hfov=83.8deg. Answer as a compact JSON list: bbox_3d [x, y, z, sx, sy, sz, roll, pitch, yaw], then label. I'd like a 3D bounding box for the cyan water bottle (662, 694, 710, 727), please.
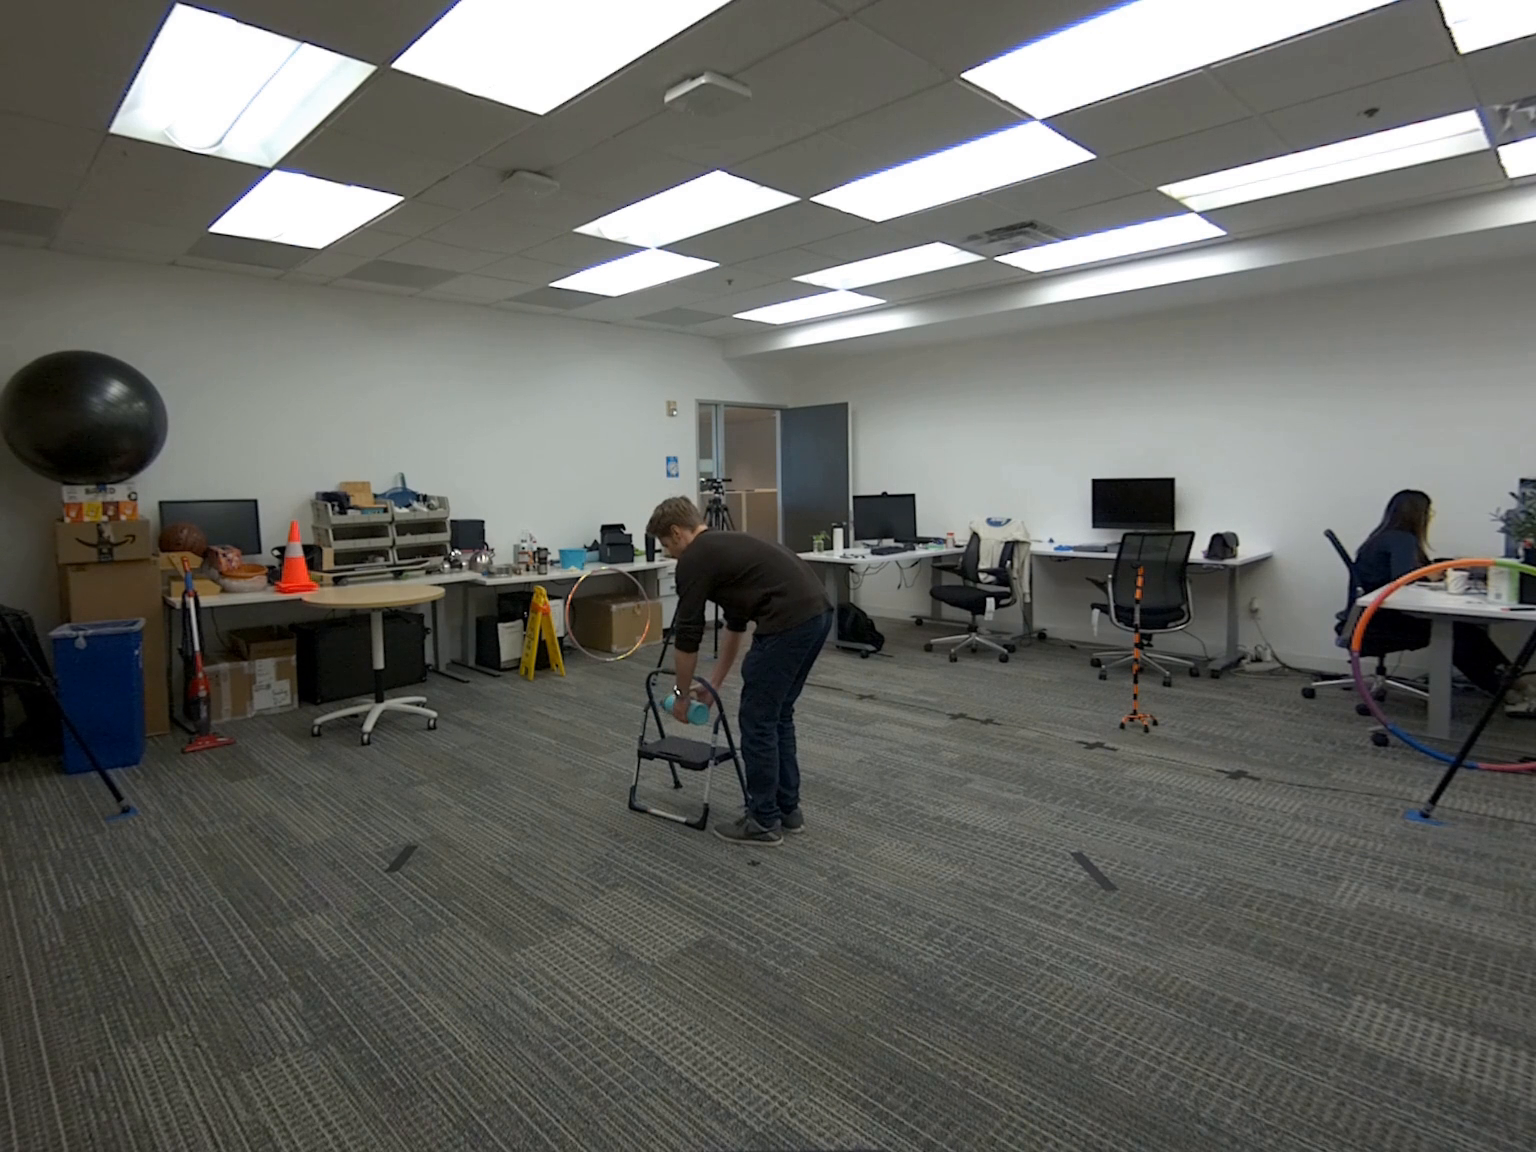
[{"bbox_3d":[-0.357,0.553,3.576,0.090,0.092,0.291,-4,5,-37],"label":"cyan water bottle"}]
